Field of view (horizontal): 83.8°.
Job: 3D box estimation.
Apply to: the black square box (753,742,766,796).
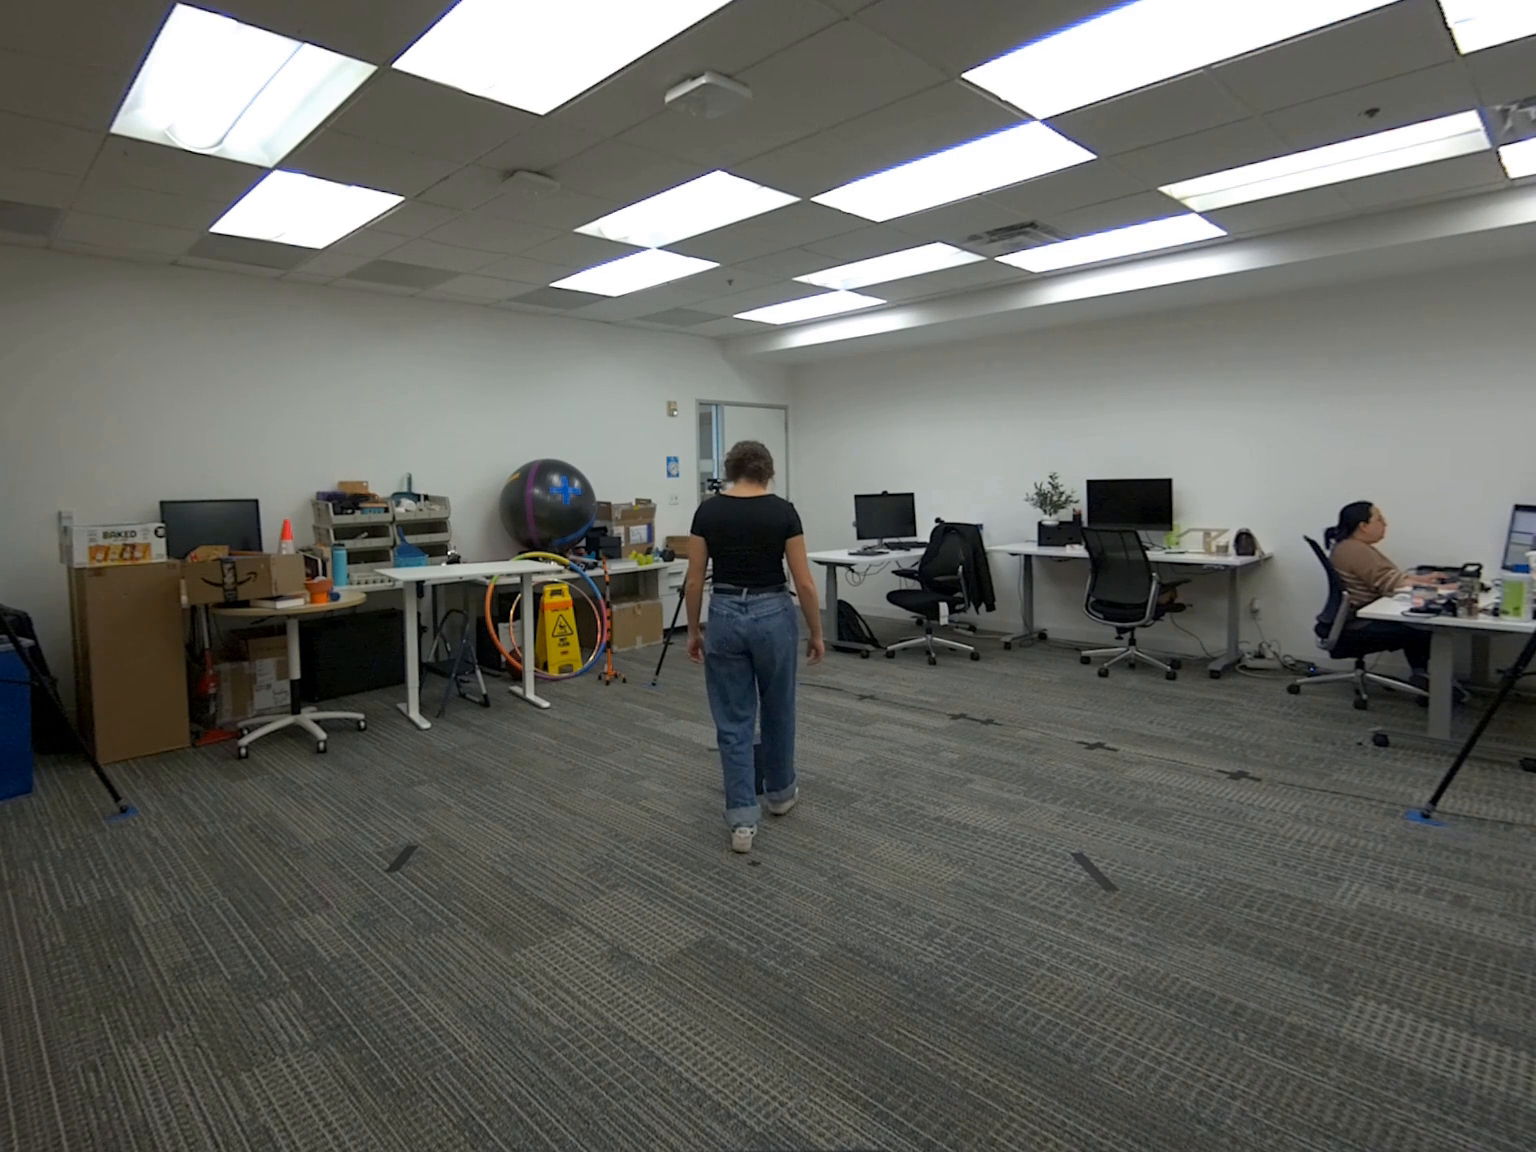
[{"bbox_3d":[-0.065,0.844,3.845,0.212,0.227,0.160,-4,4,-25],"label":"black square box"}]
